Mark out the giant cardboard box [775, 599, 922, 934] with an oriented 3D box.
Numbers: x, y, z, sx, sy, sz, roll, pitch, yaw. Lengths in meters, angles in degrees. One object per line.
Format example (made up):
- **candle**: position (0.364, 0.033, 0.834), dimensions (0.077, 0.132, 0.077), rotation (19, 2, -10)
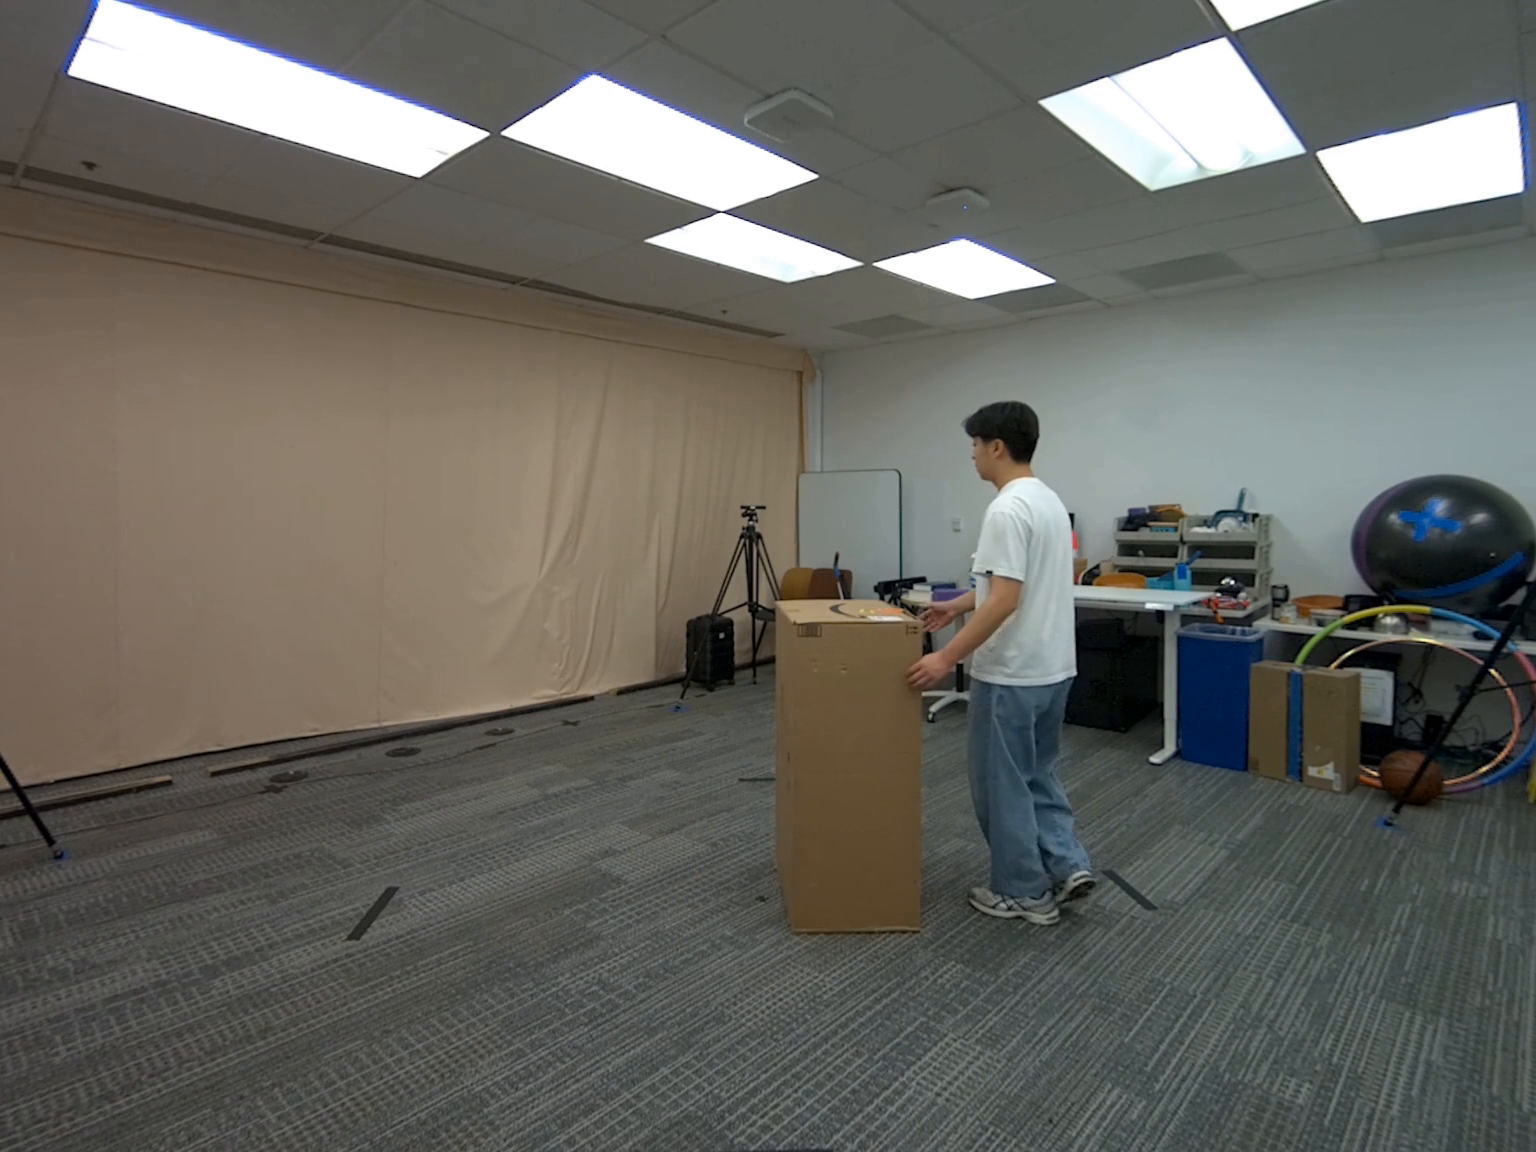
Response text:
- **giant cardboard box**: position (0.268, 0.633, 2.999), dimensions (0.425, 1.024, 0.580), rotation (0, 3, -4)
